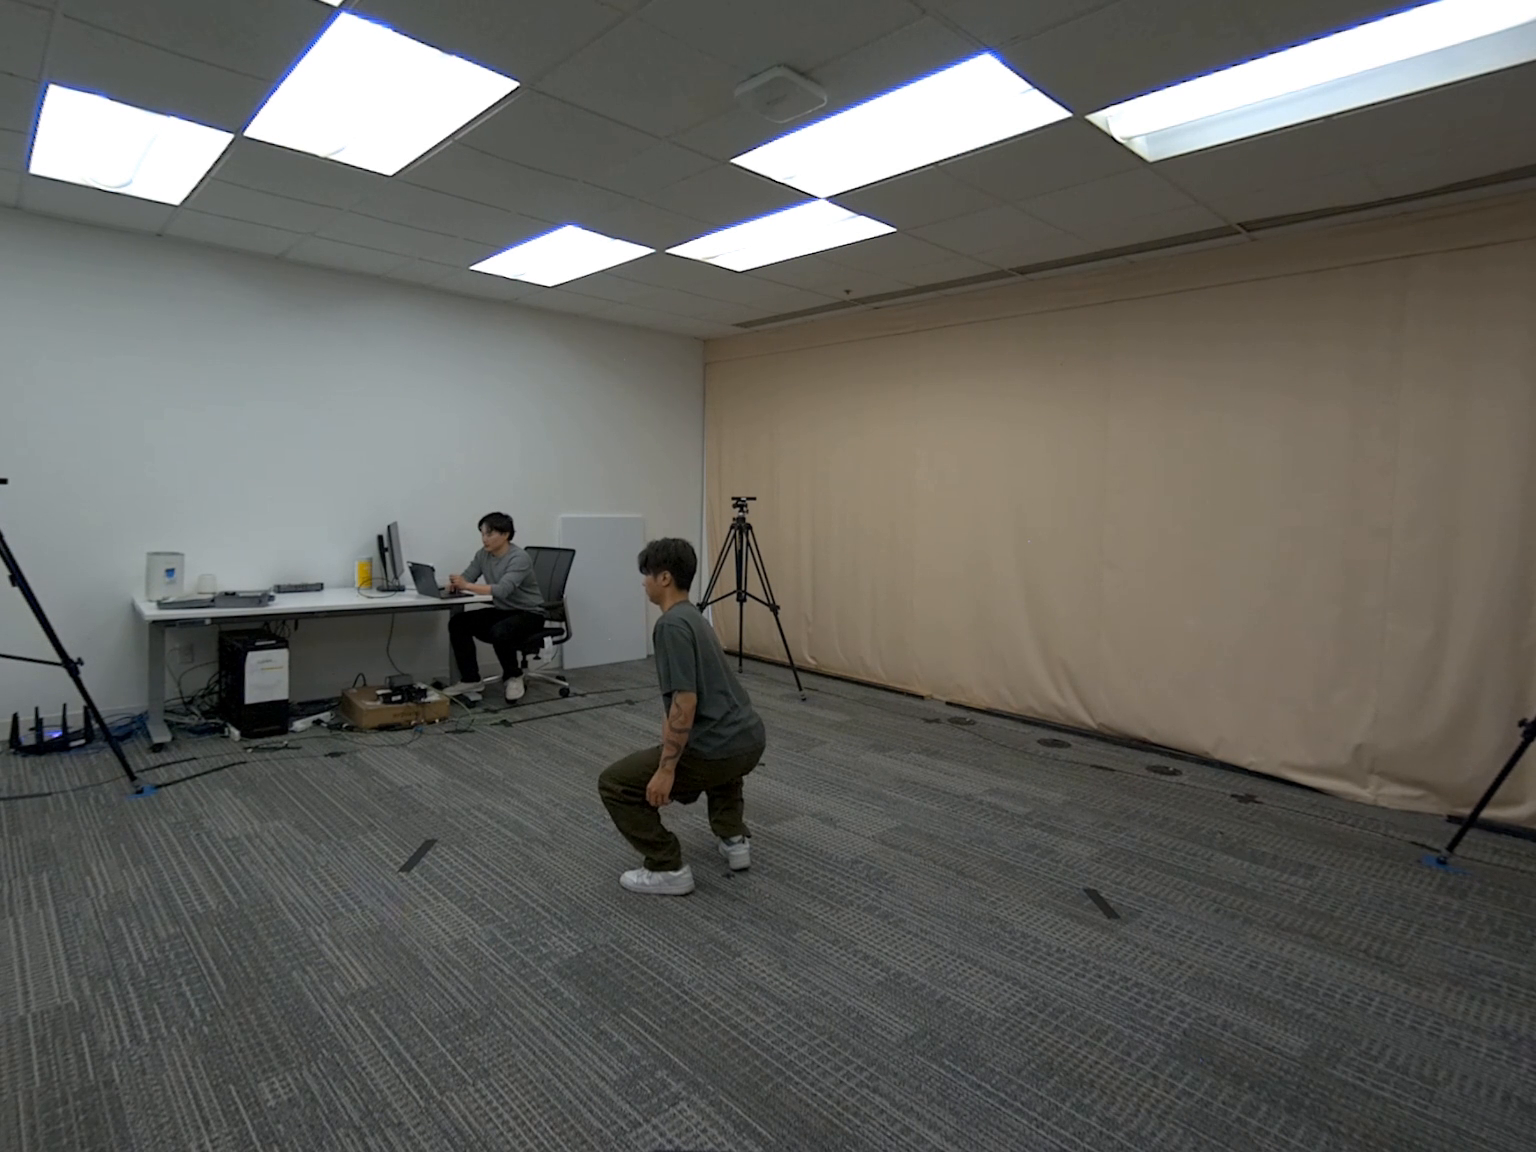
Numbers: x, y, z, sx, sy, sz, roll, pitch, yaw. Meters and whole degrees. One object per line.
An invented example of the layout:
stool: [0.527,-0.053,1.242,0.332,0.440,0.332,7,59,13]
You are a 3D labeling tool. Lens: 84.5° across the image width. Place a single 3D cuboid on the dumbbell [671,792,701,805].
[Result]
dumbbell: [-0.396,0.851,3.286,0.287,0.125,0.109,-3,-22,-46]
